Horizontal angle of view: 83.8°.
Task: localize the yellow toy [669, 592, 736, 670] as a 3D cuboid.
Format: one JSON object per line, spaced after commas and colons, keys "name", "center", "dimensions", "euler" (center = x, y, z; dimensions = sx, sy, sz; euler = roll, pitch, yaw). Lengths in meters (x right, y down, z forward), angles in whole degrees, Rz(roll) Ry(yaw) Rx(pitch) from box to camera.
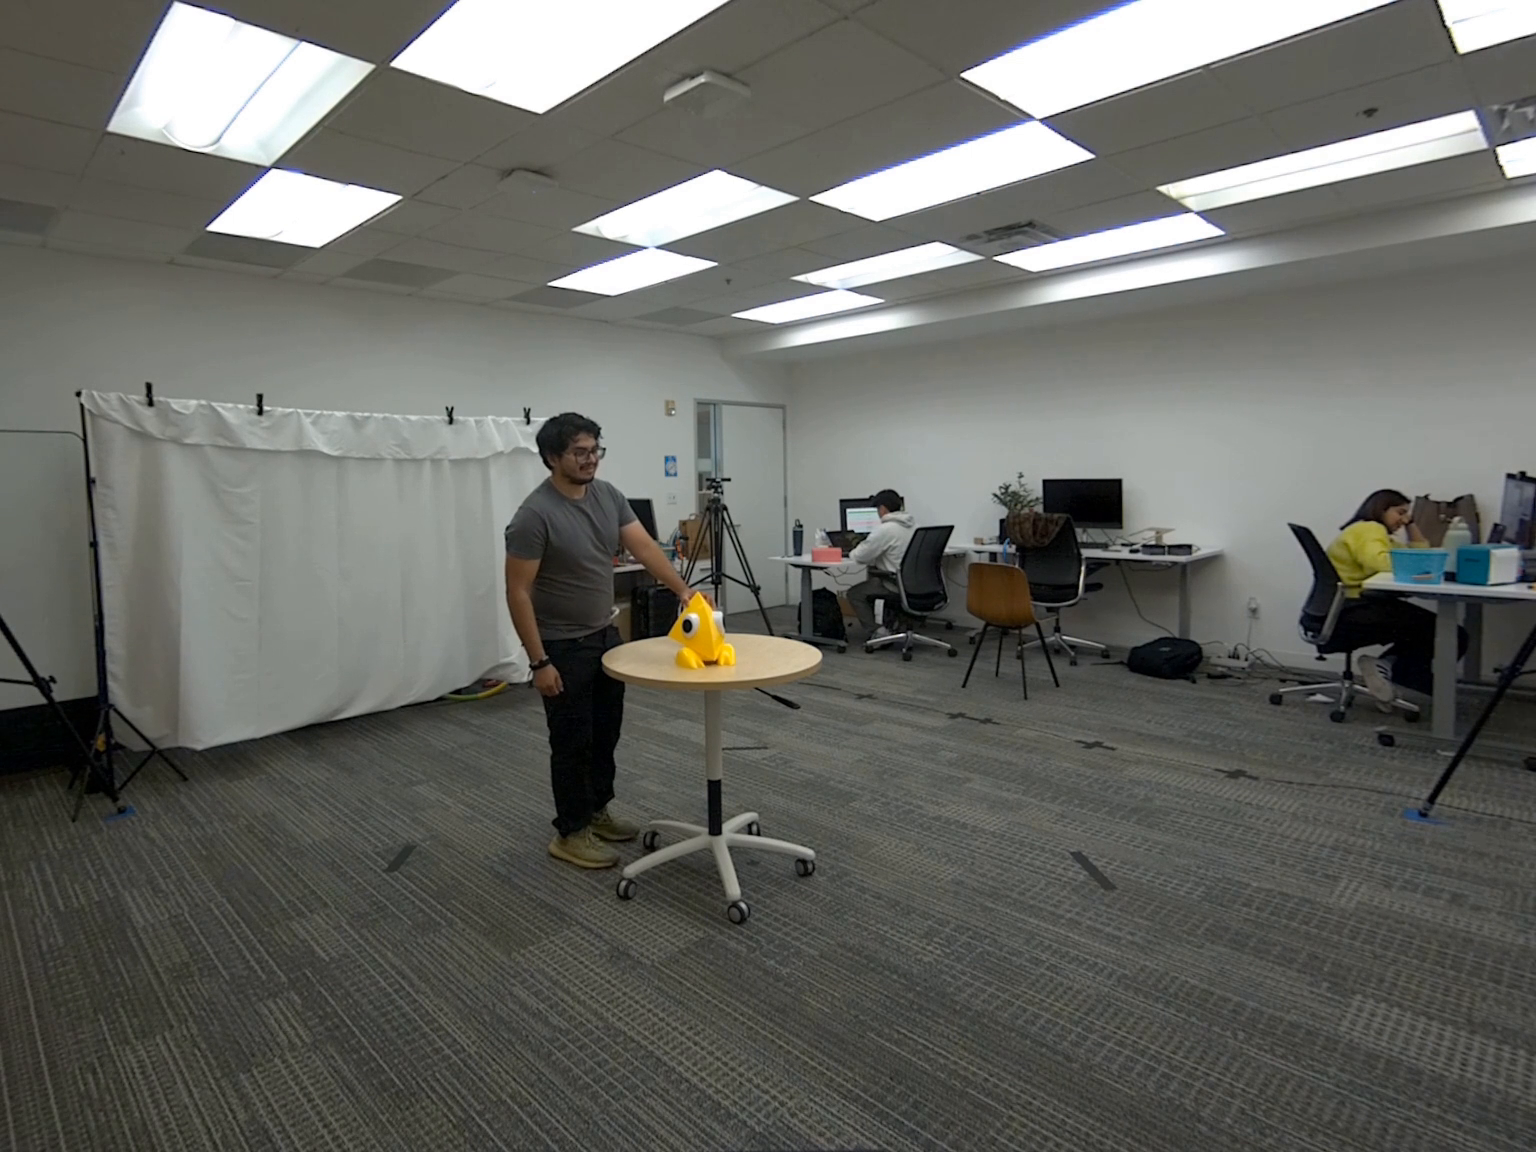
{"name": "yellow toy", "center": [-0.212, 0.178, 2.869], "dimensions": [0.201, 0.230, 0.197], "euler": [-3, 6, -22]}
